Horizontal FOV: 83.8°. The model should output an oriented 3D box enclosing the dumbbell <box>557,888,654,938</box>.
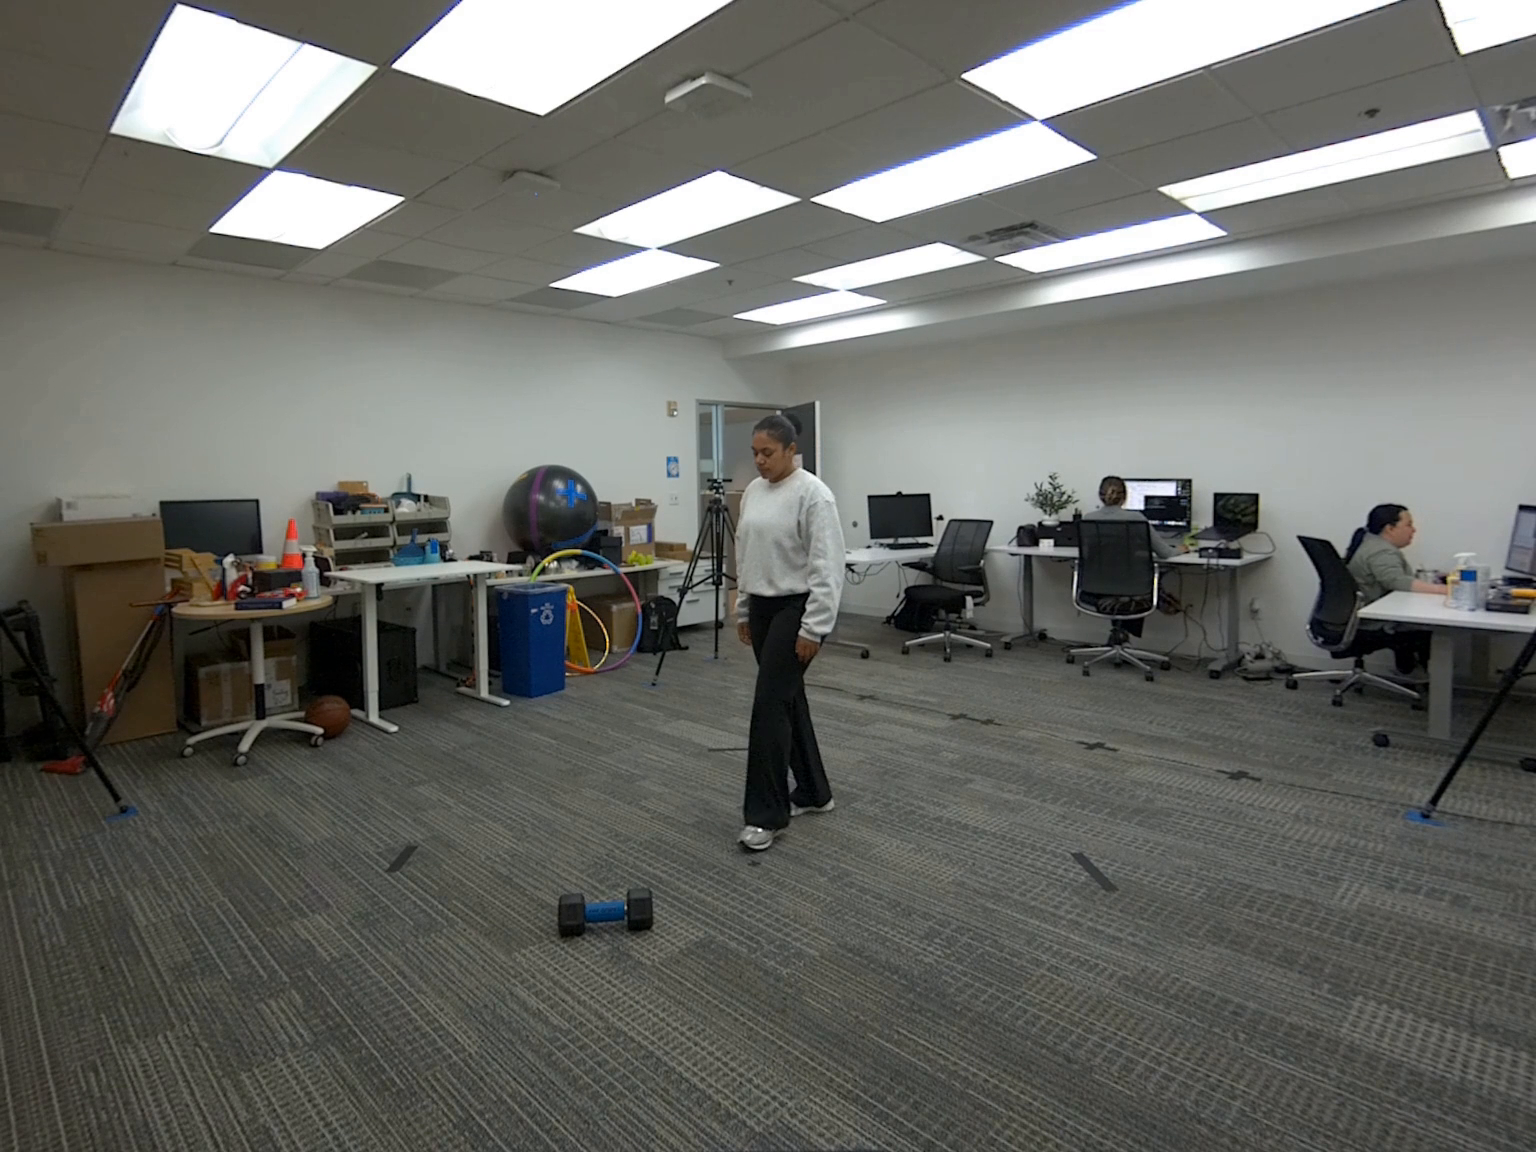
[{"bbox_3d":[-0.502,1.052,2.673,0.291,0.120,0.112,-2,34,-7],"label":"dumbbell"}]
